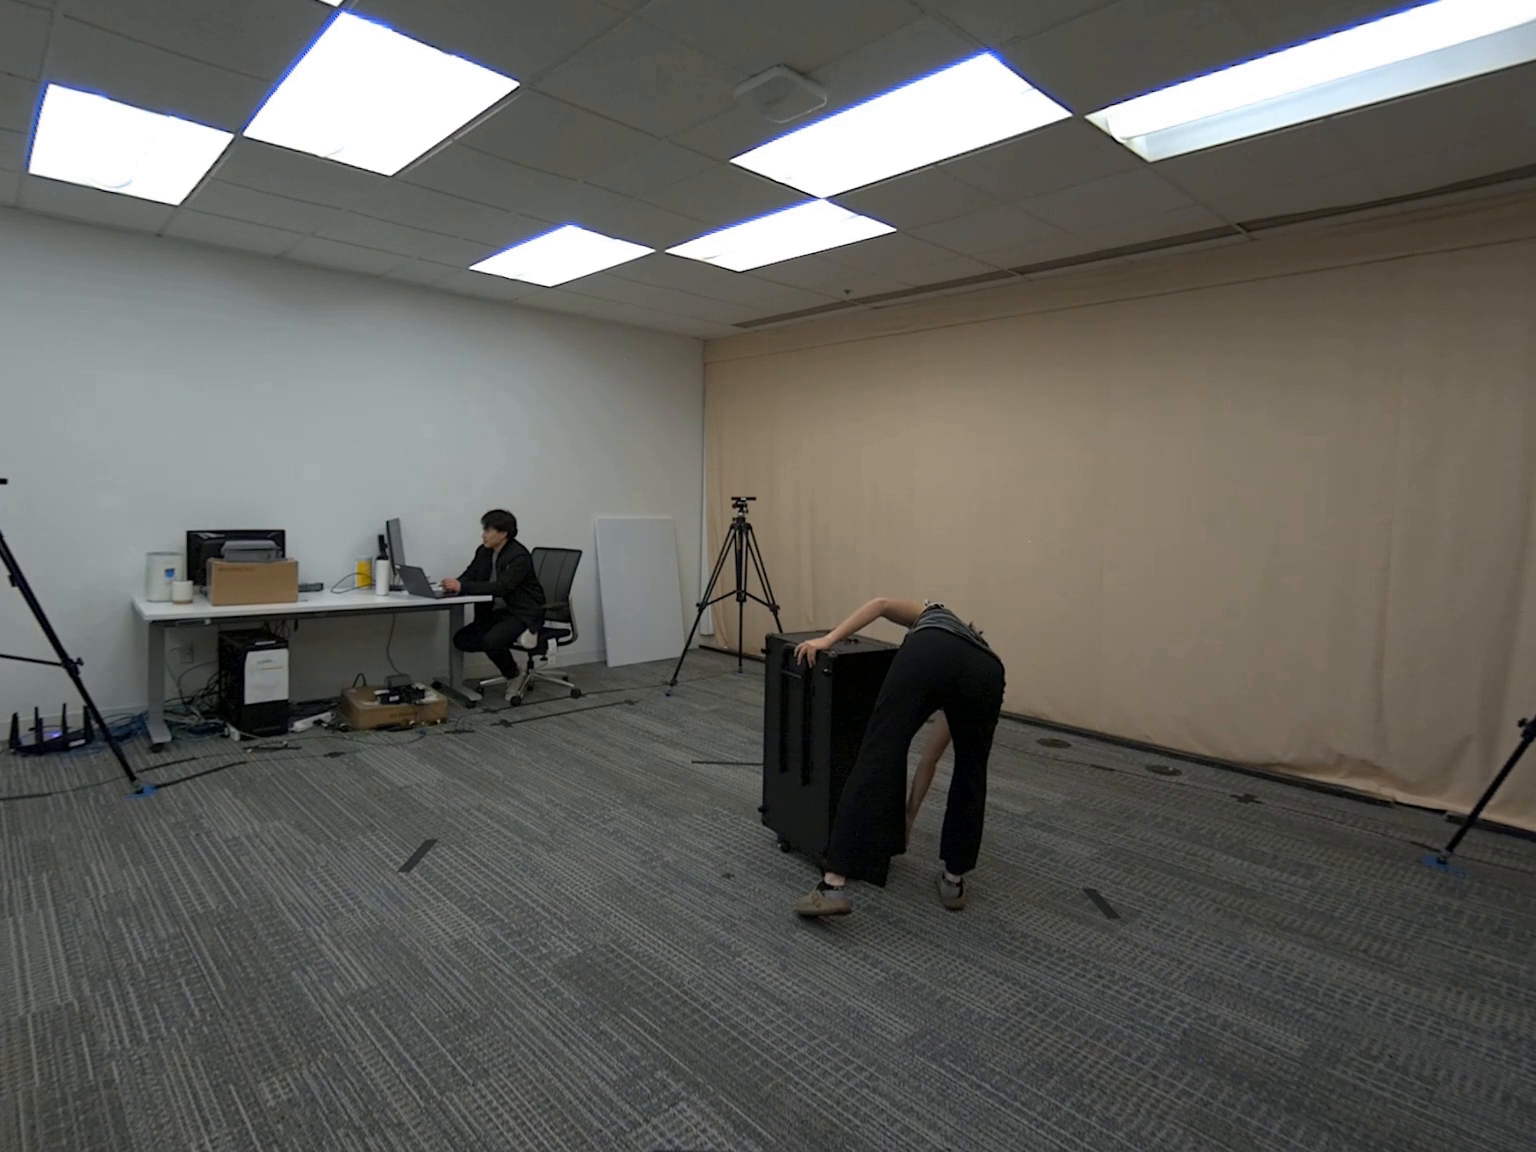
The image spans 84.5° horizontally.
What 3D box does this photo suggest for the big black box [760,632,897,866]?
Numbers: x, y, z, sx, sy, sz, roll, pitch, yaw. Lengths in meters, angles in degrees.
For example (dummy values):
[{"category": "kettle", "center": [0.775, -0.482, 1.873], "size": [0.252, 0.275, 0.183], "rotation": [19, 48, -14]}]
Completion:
[{"category": "big black box", "center": [0.234, 0.676, 3.277], "size": [0.389, 0.859, 0.533], "rotation": [0, 5, -27]}]
